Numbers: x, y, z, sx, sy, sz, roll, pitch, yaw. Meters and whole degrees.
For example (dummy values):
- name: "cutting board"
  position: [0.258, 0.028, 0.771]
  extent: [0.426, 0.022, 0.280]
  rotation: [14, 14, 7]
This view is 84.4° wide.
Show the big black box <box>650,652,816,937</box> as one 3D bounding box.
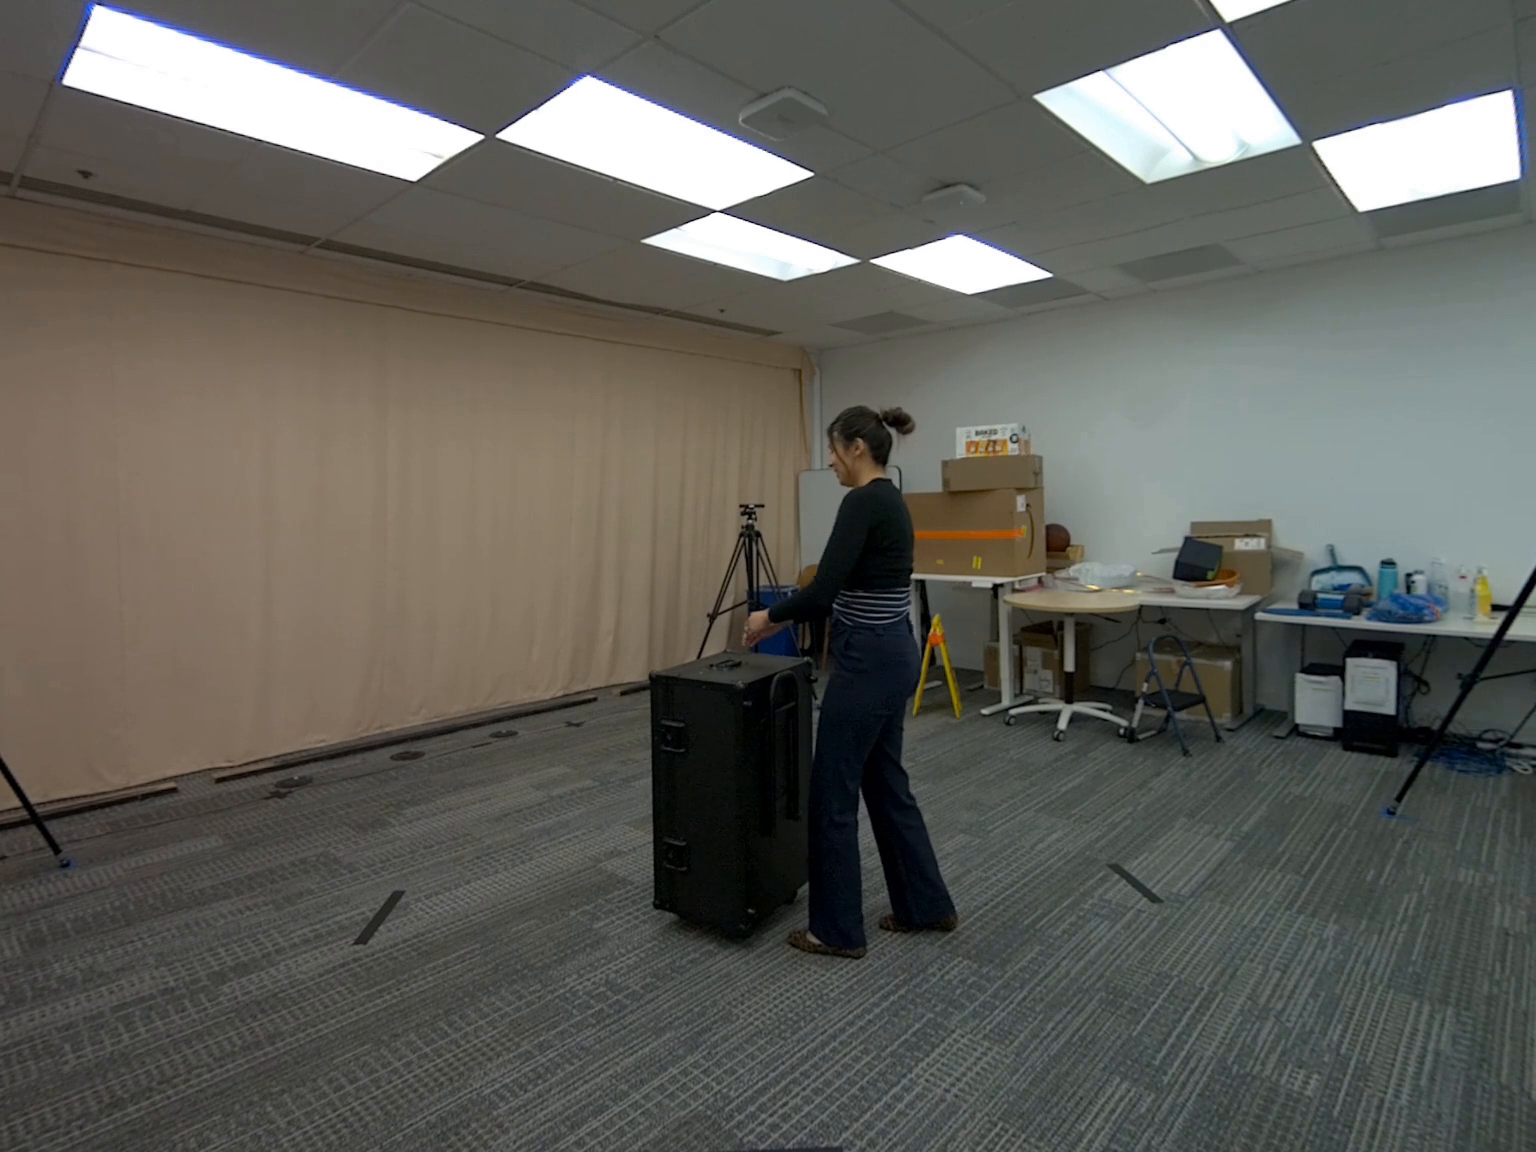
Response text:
- name: "big black box"
  position: [-0.097, 0.728, 2.860]
  extent: [0.408, 0.859, 0.507]
  rotation: [3, 5, 31]
